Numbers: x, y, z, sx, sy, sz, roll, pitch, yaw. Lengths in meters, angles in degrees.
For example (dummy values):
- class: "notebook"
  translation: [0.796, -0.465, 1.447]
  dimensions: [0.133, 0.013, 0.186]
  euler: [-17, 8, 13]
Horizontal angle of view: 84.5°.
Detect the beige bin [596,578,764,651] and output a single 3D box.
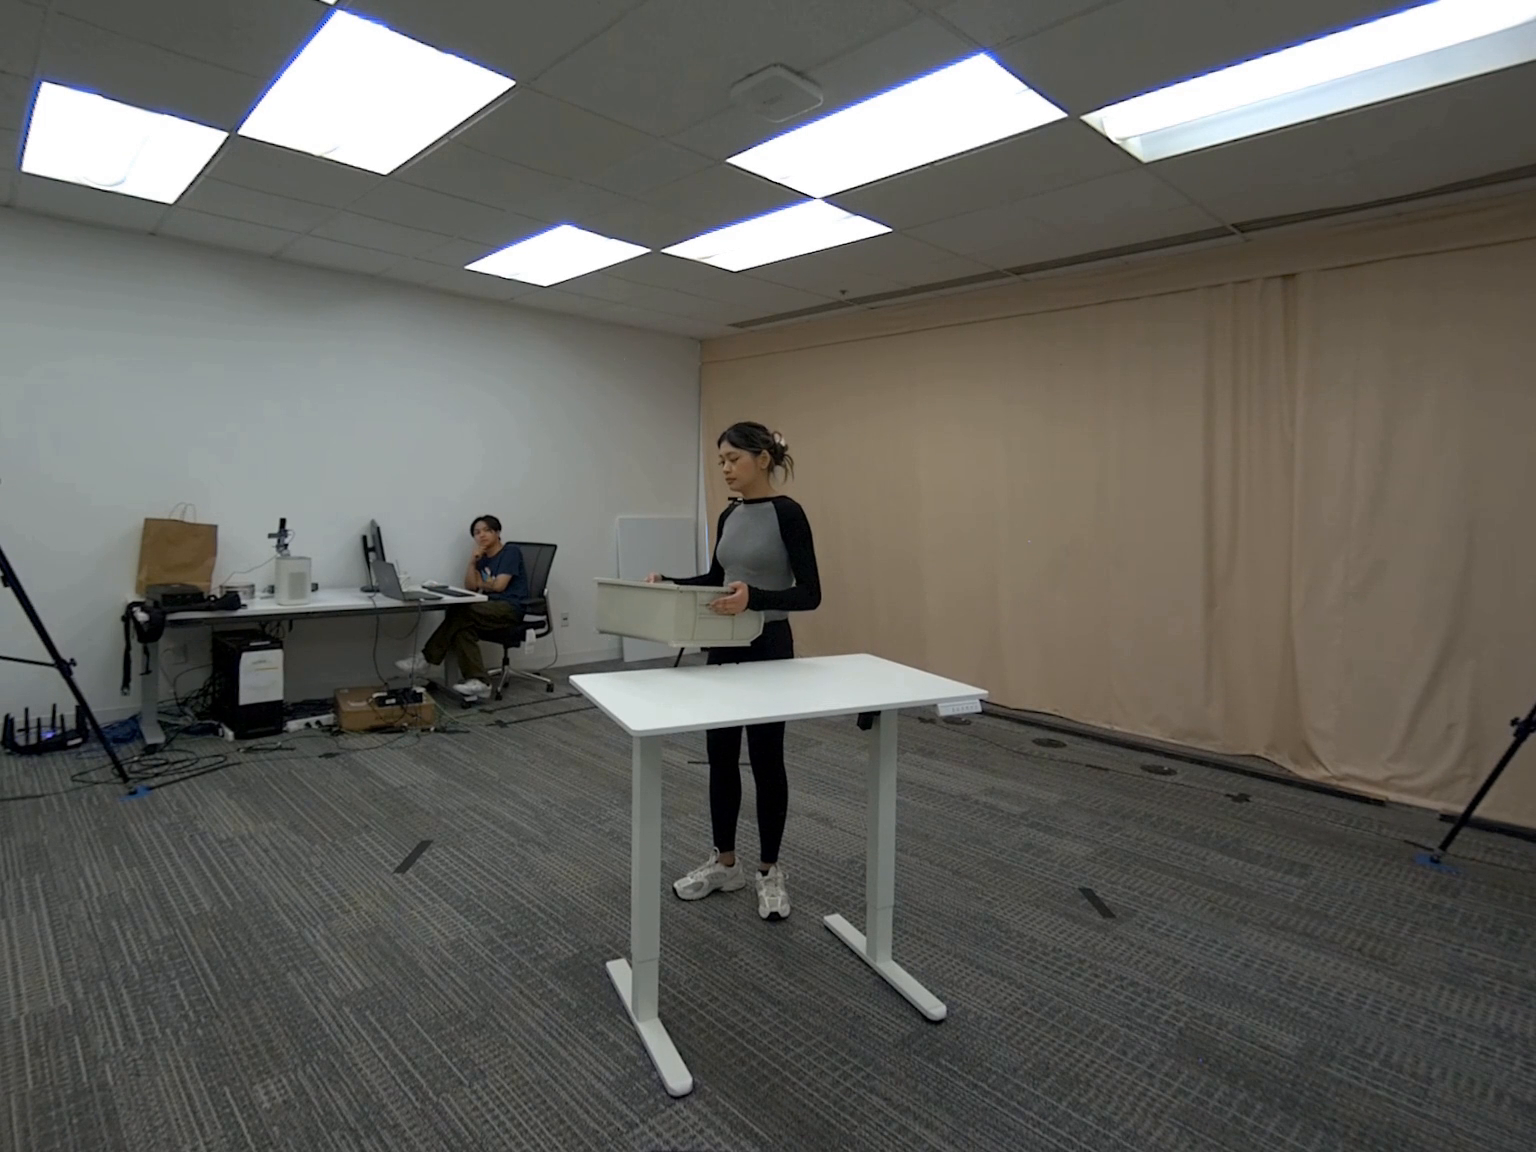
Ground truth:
- class: "beige bin"
  translation: [-0.292, 0.114, 2.696]
  dimensions: [0.368, 0.189, 0.433]
  euler: [0, 3, -45]
